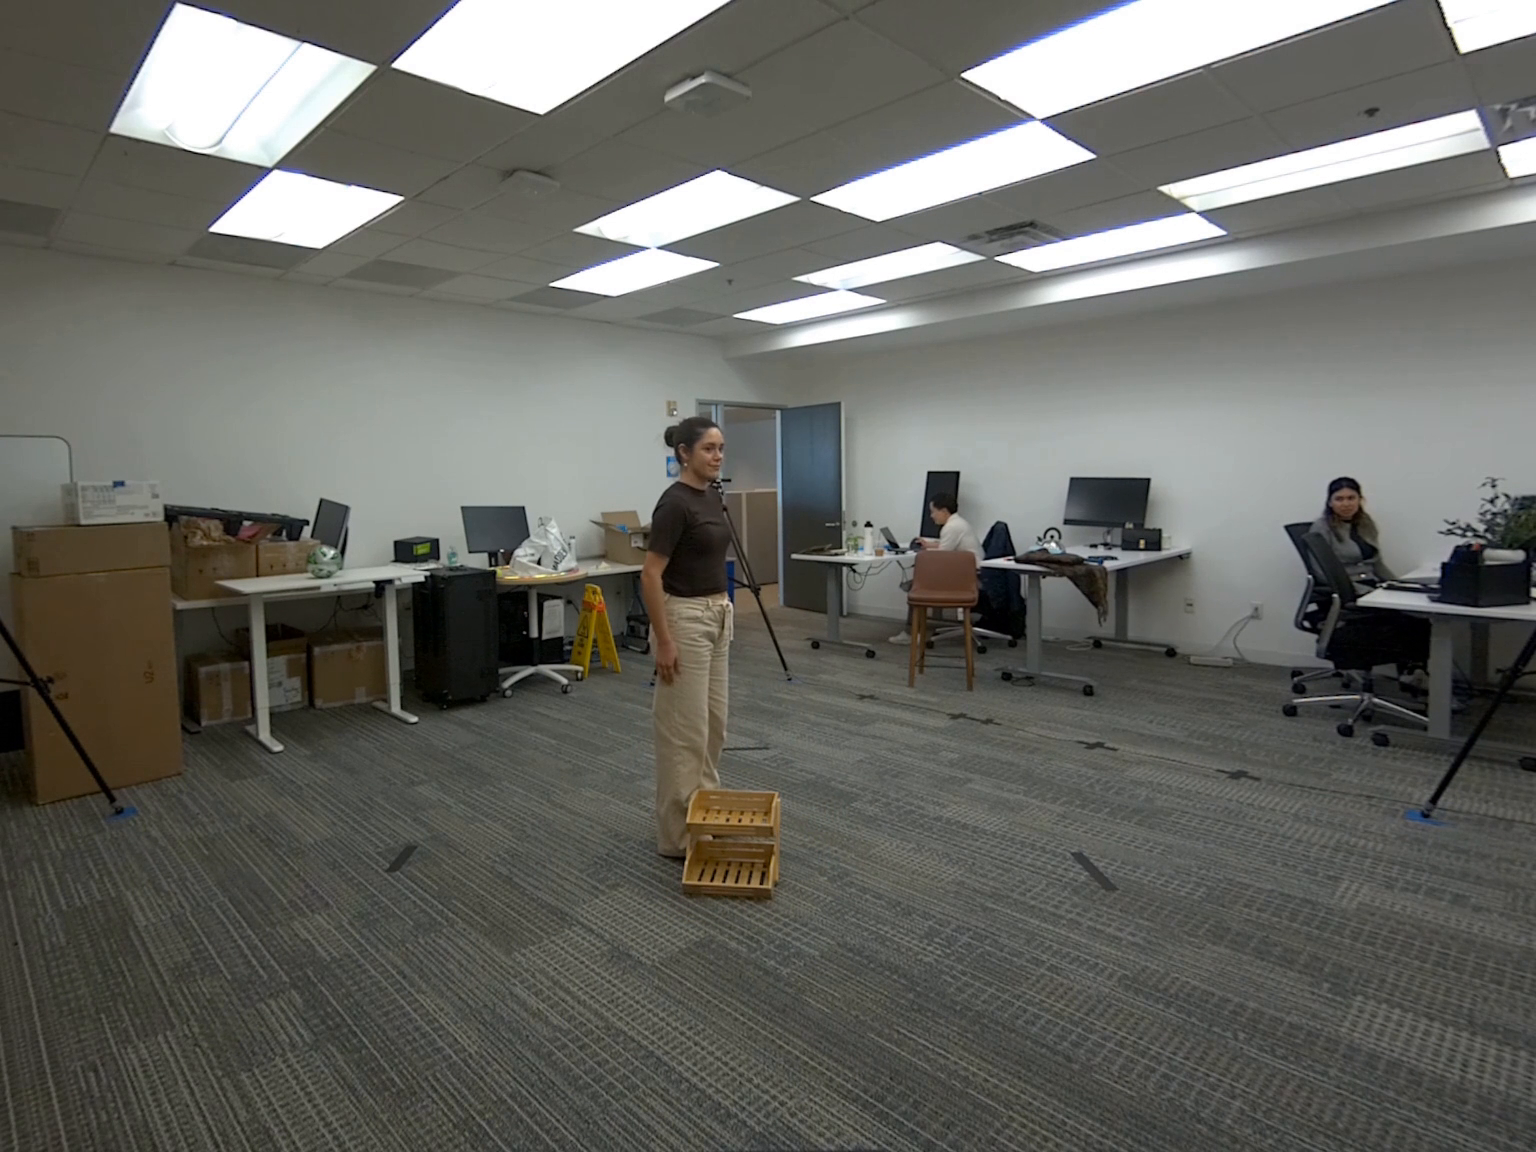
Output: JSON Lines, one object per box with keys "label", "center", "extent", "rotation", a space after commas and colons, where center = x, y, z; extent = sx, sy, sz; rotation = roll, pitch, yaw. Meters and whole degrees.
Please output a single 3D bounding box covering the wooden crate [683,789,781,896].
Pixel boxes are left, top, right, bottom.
{"label": "wooden crate", "center": [-0.121, 0.925, 2.977], "extent": [0.327, 0.273, 0.300], "rotation": [-1, 3, 7]}
